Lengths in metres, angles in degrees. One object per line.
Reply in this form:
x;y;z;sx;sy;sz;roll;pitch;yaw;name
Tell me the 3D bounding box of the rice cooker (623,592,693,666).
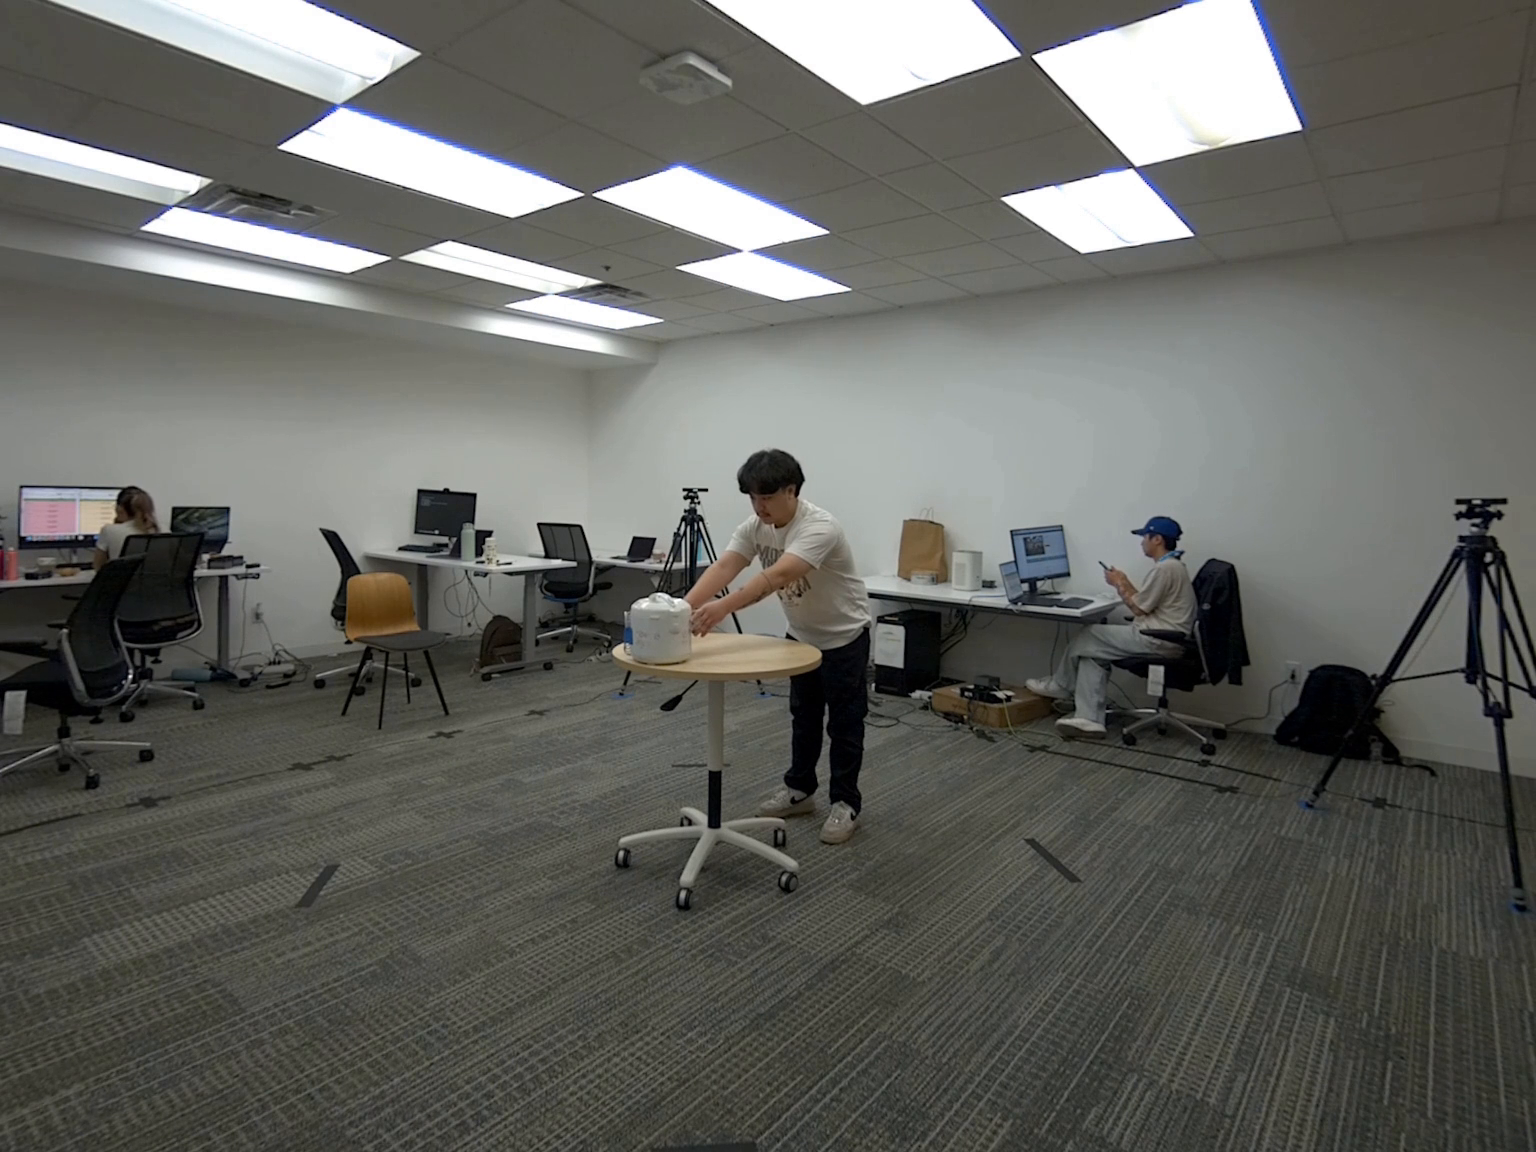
-0.380;0.174;2.929;0.212;0.232;0.227;-4;6;-32;rice cooker
